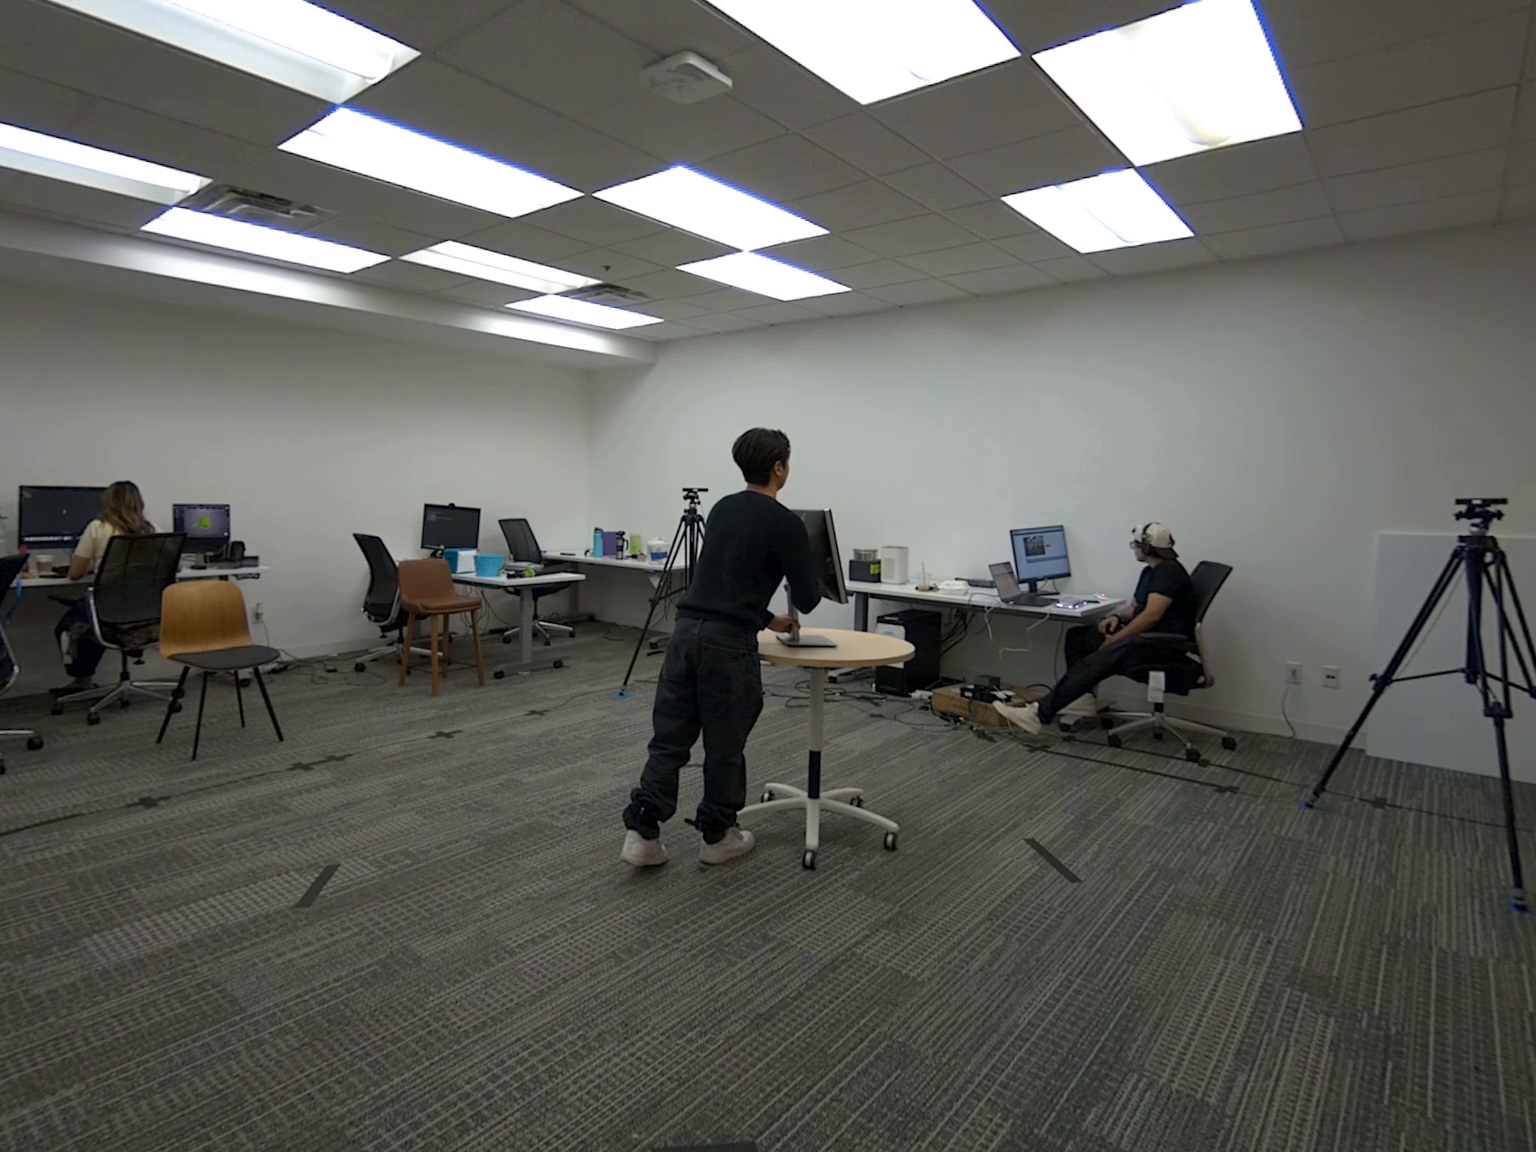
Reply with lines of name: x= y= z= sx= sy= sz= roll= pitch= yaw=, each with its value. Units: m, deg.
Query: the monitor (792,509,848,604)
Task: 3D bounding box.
monitor: x=0.153 y=0.000 z=3.435 sx=0.172 sy=0.516 sz=0.537 roll=5 pitch=1 yaw=-13
